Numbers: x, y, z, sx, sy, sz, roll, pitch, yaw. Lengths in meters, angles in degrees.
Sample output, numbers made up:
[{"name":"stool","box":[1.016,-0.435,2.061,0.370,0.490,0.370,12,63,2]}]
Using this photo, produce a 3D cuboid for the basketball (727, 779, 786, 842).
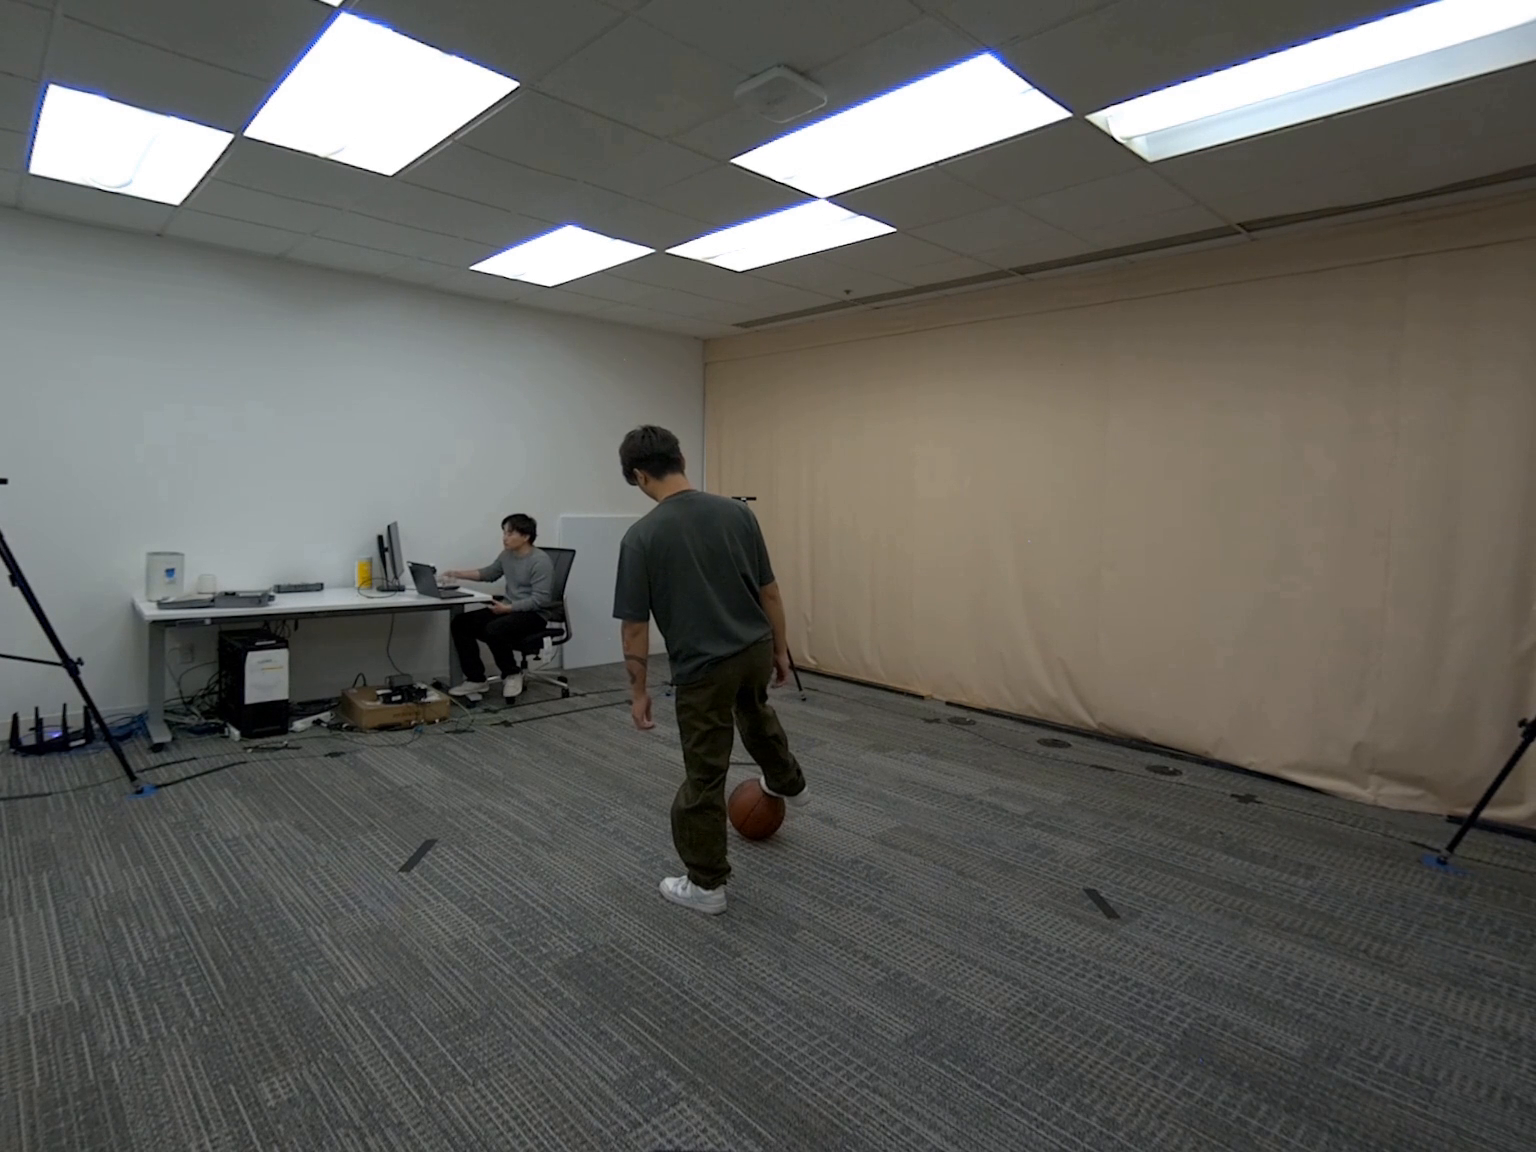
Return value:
[{"name":"basketball","box":[-0.059,0.958,3.470,0.236,0.235,0.237,1,4,-1]}]
